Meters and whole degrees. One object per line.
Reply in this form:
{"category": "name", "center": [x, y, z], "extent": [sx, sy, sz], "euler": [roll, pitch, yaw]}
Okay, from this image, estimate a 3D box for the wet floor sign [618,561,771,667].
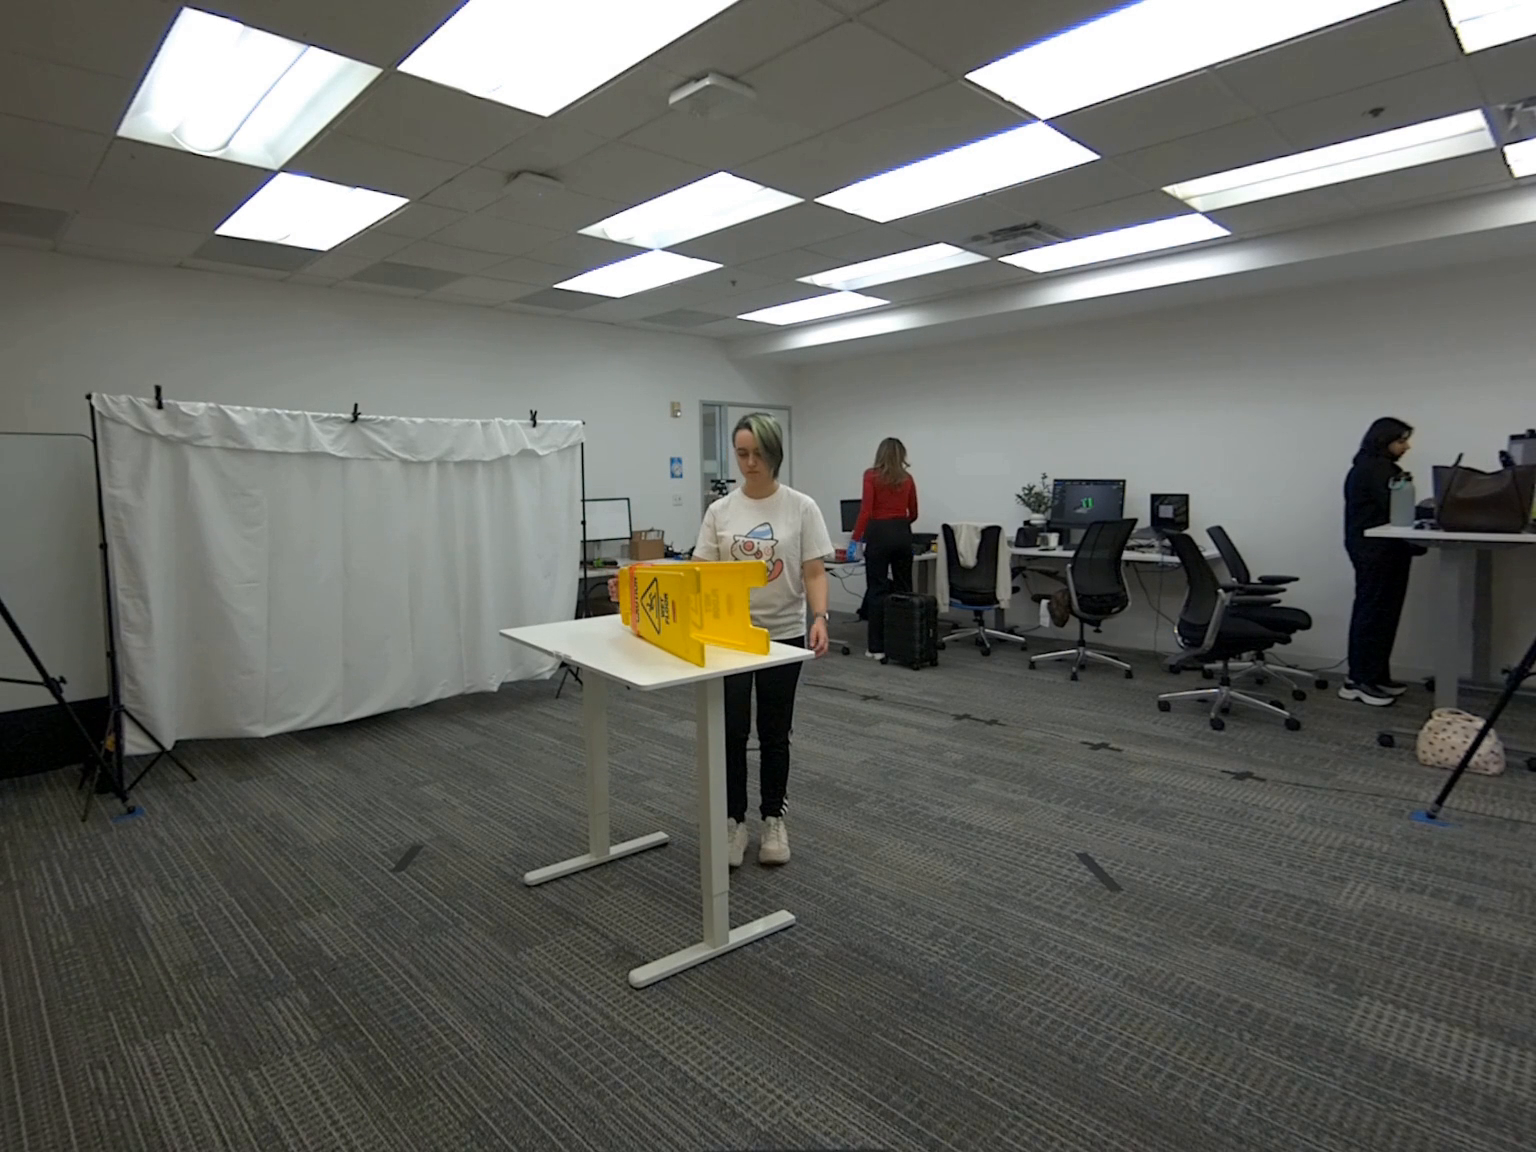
{"category": "wet floor sign", "center": [-0.302, 0.090, 2.697], "extent": [0.282, 0.281, 0.665], "euler": [-6, 6, -38]}
